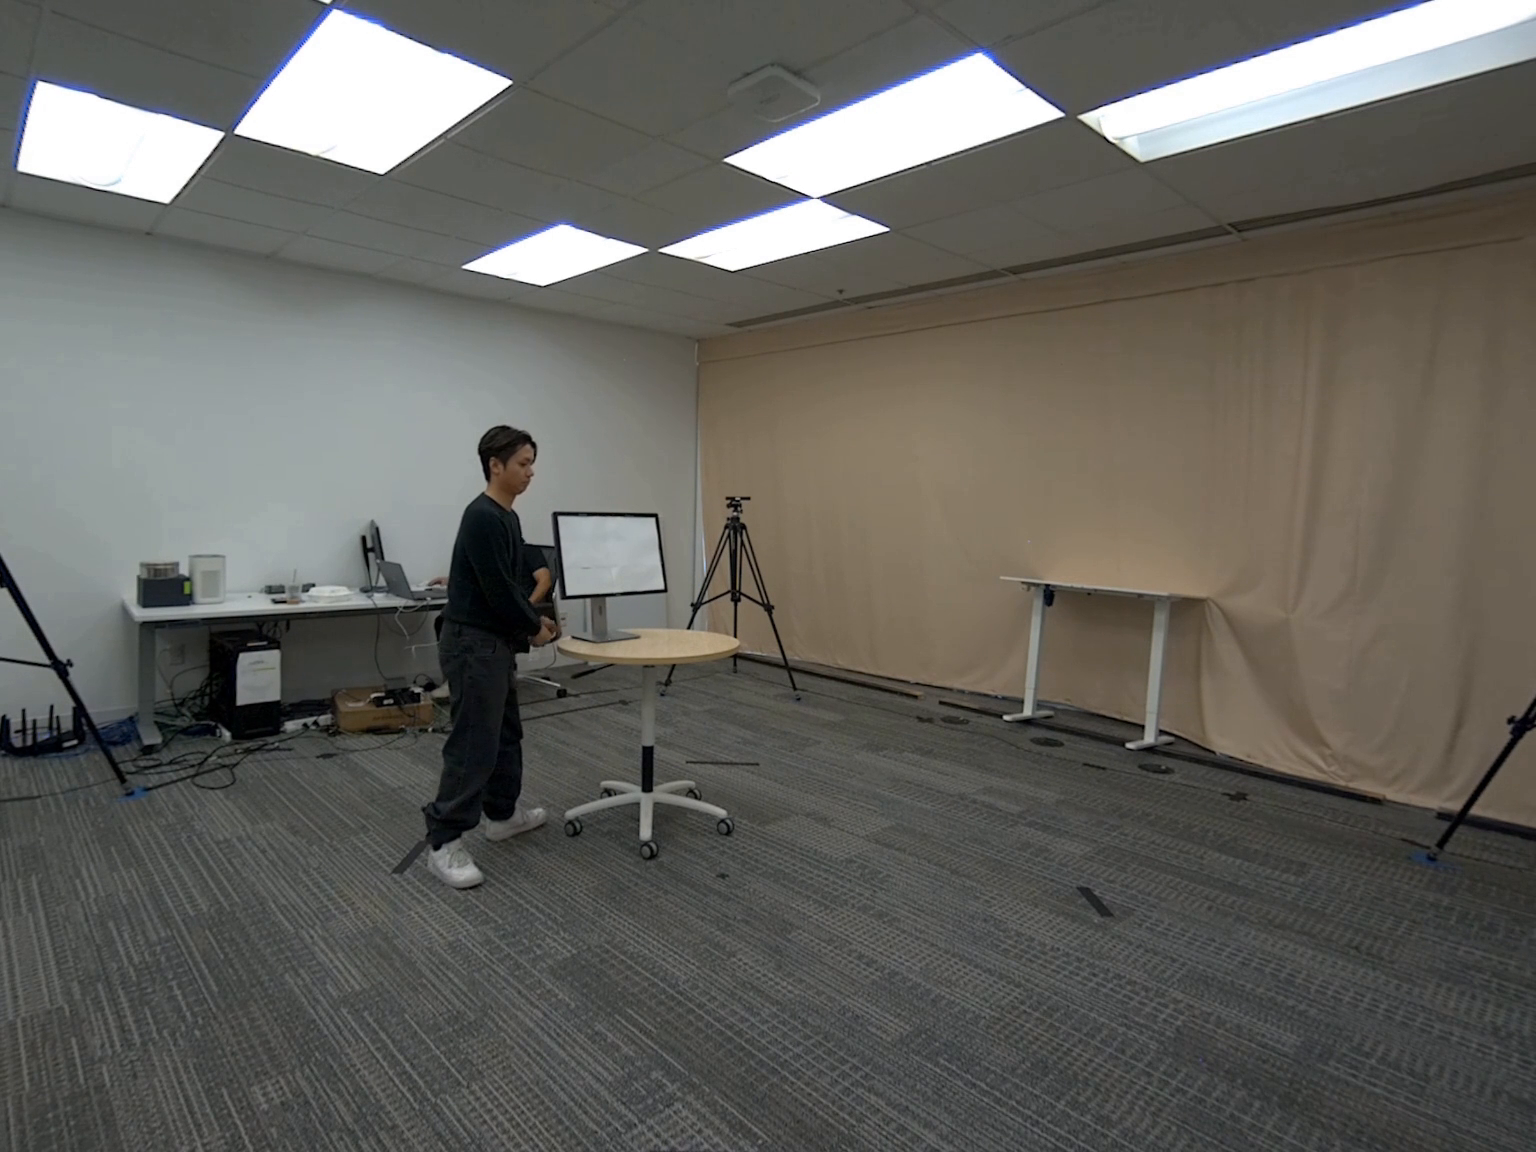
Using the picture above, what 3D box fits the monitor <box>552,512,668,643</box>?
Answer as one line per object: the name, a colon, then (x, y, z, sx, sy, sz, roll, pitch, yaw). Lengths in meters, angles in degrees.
monitor: (-0.702, -0.001, 3.636, 0.192, 0.521, 0.527, 5, 5, 41)
